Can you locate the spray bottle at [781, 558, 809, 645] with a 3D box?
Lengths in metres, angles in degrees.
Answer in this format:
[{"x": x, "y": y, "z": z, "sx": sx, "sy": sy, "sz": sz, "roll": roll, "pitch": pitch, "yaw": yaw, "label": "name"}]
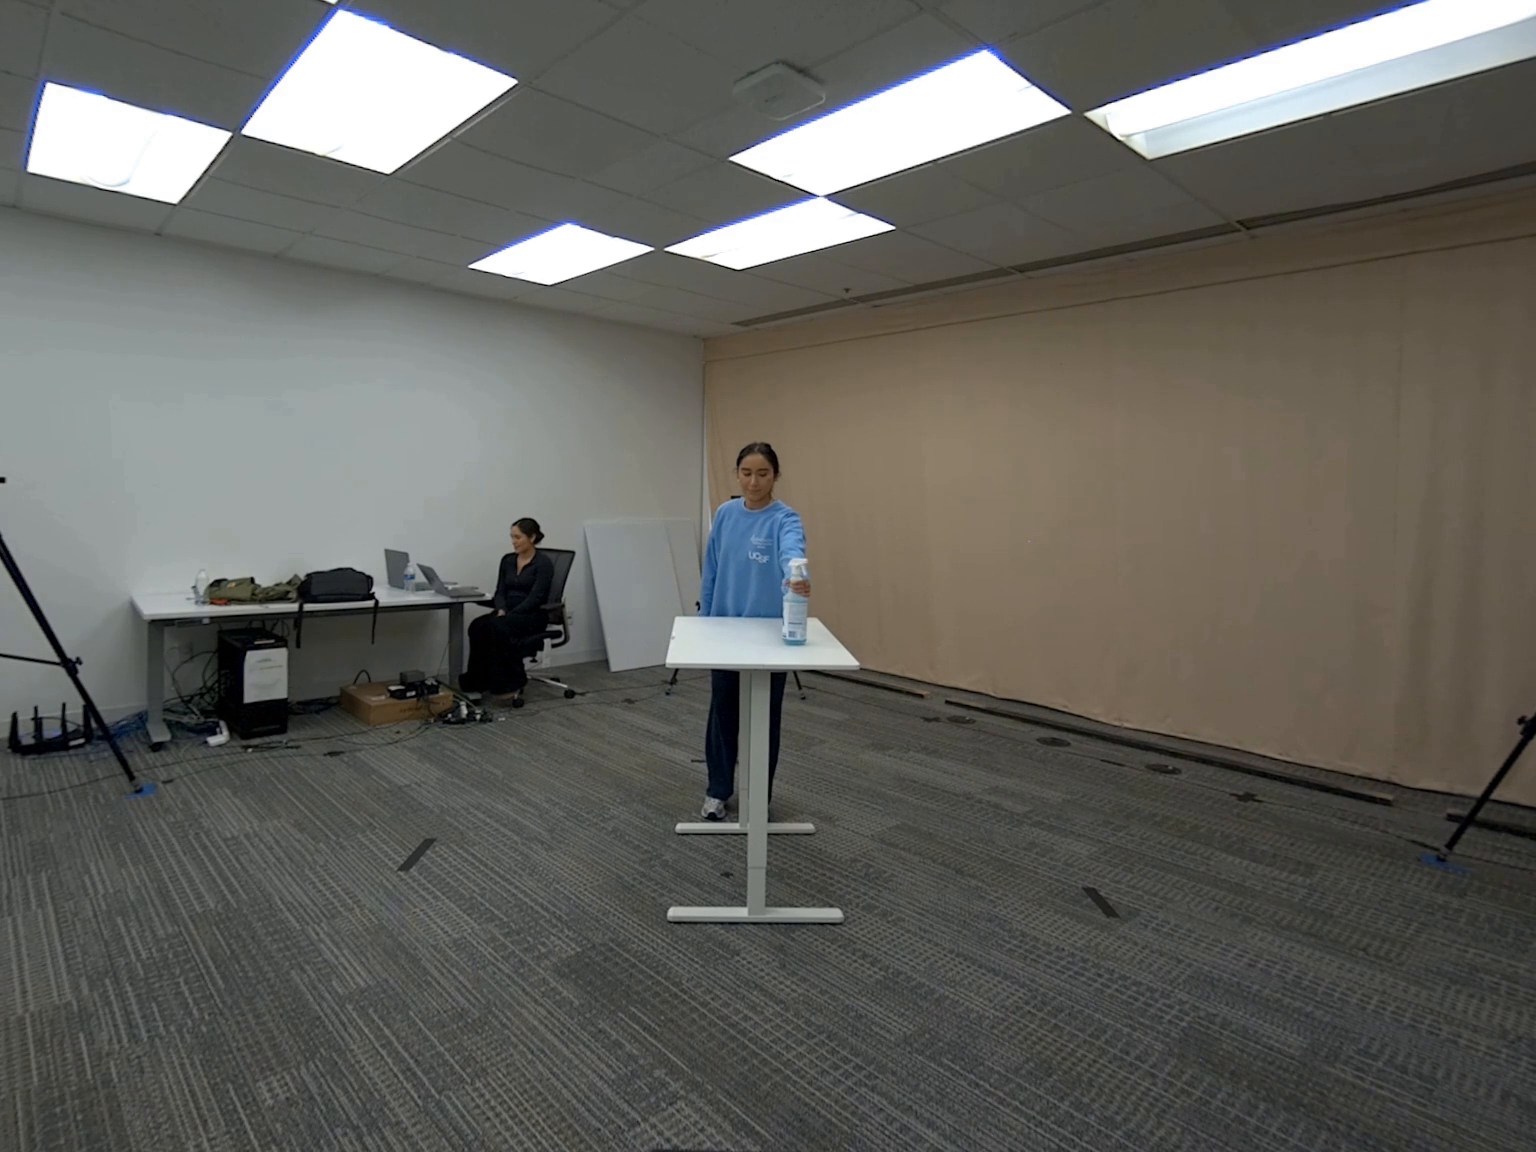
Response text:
[{"x": 0.085, "y": 0.086, "z": 2.939, "sx": 0.086, "sy": 0.296, "sz": 0.091, "roll": -1, "pitch": 6, "yaw": -12, "label": "spray bottle"}]
